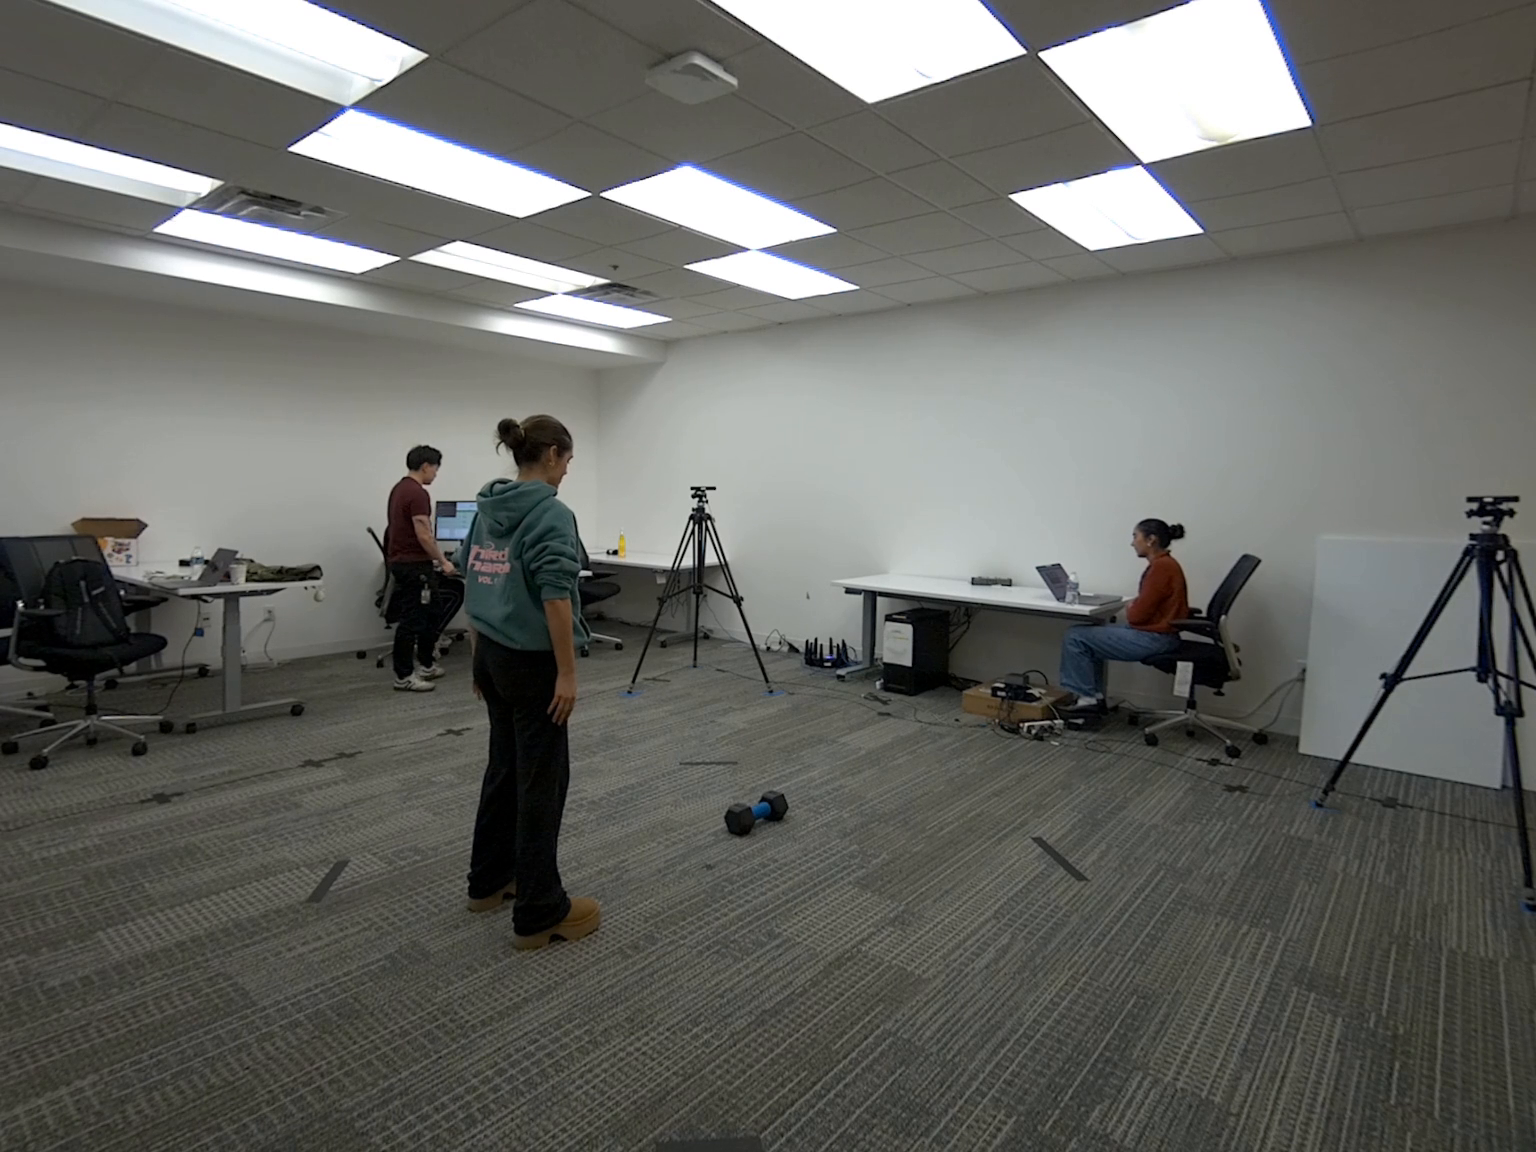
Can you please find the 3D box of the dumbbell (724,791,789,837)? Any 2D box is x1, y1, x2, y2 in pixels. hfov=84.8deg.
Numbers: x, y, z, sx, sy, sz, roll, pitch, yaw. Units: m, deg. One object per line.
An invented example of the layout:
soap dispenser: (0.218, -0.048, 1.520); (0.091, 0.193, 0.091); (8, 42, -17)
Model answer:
dumbbell: (-0.056, 0.973, 3.516); (0.127, 0.108, 0.285); (4, 7, 42)
